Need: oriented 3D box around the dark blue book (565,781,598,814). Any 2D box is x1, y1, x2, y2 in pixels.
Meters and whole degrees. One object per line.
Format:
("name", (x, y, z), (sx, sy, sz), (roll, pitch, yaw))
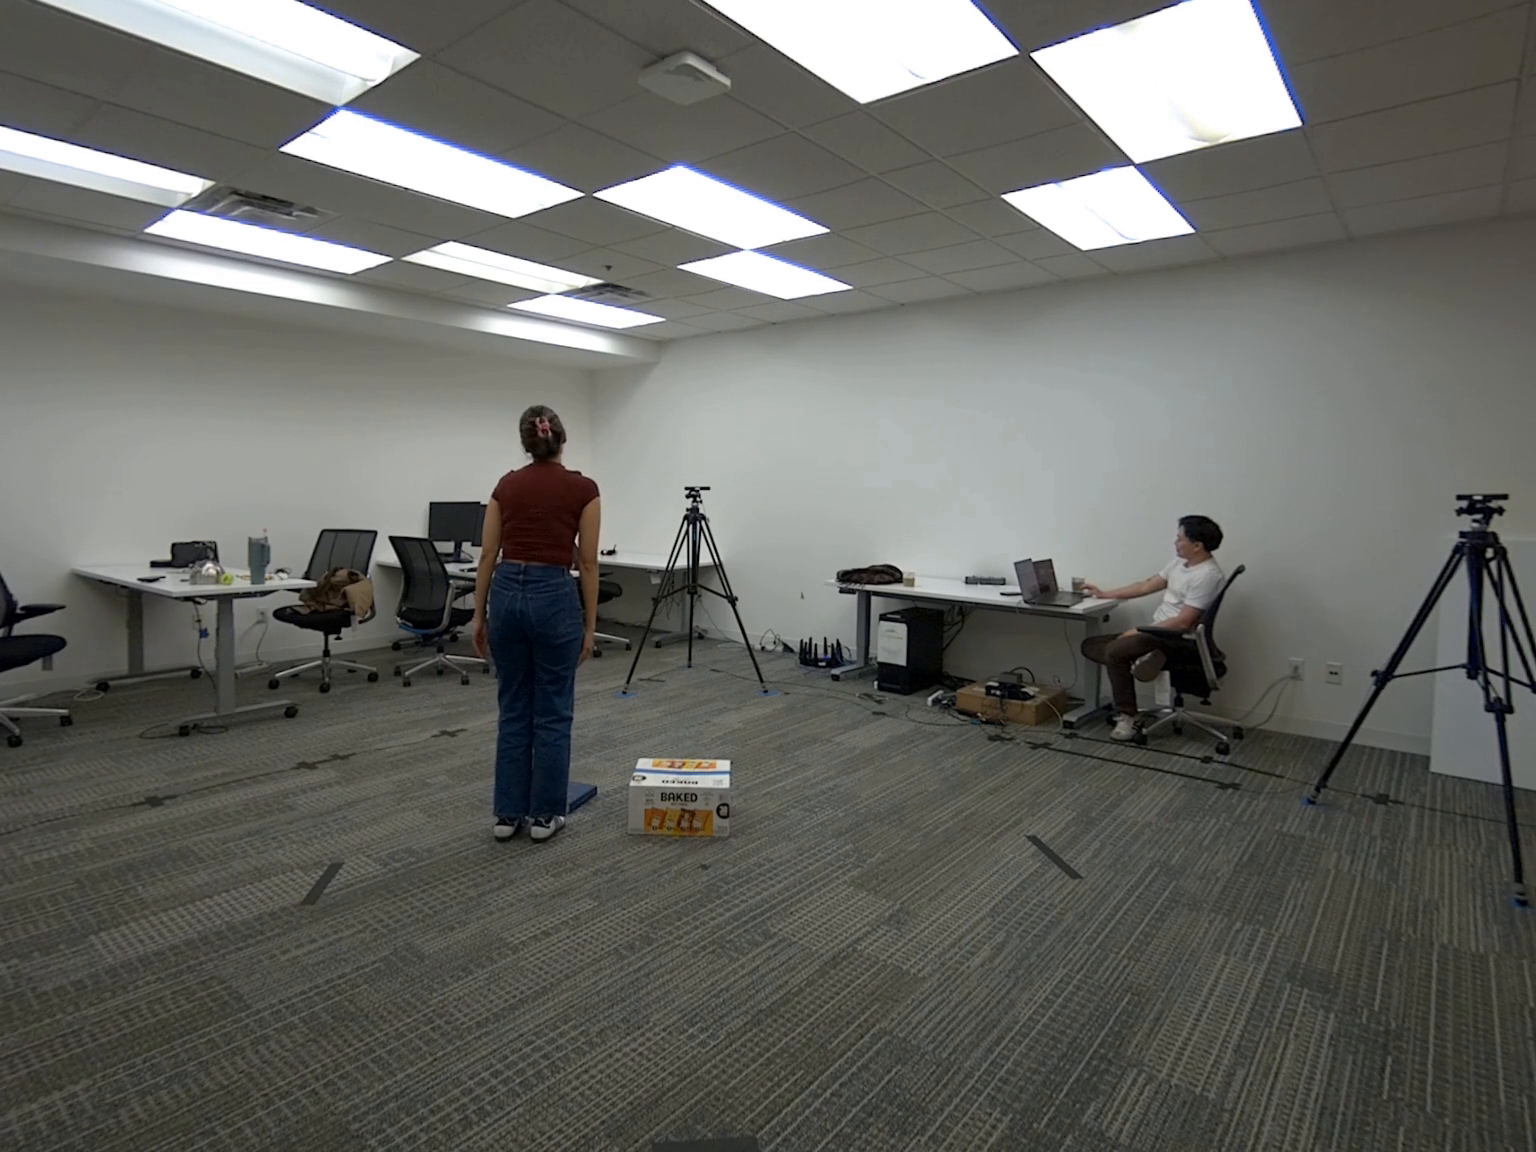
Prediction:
("dark blue book", (-0.903, 0.973, 3.753), (0.167, 0.045, 0.241), (1, 7, 20))
